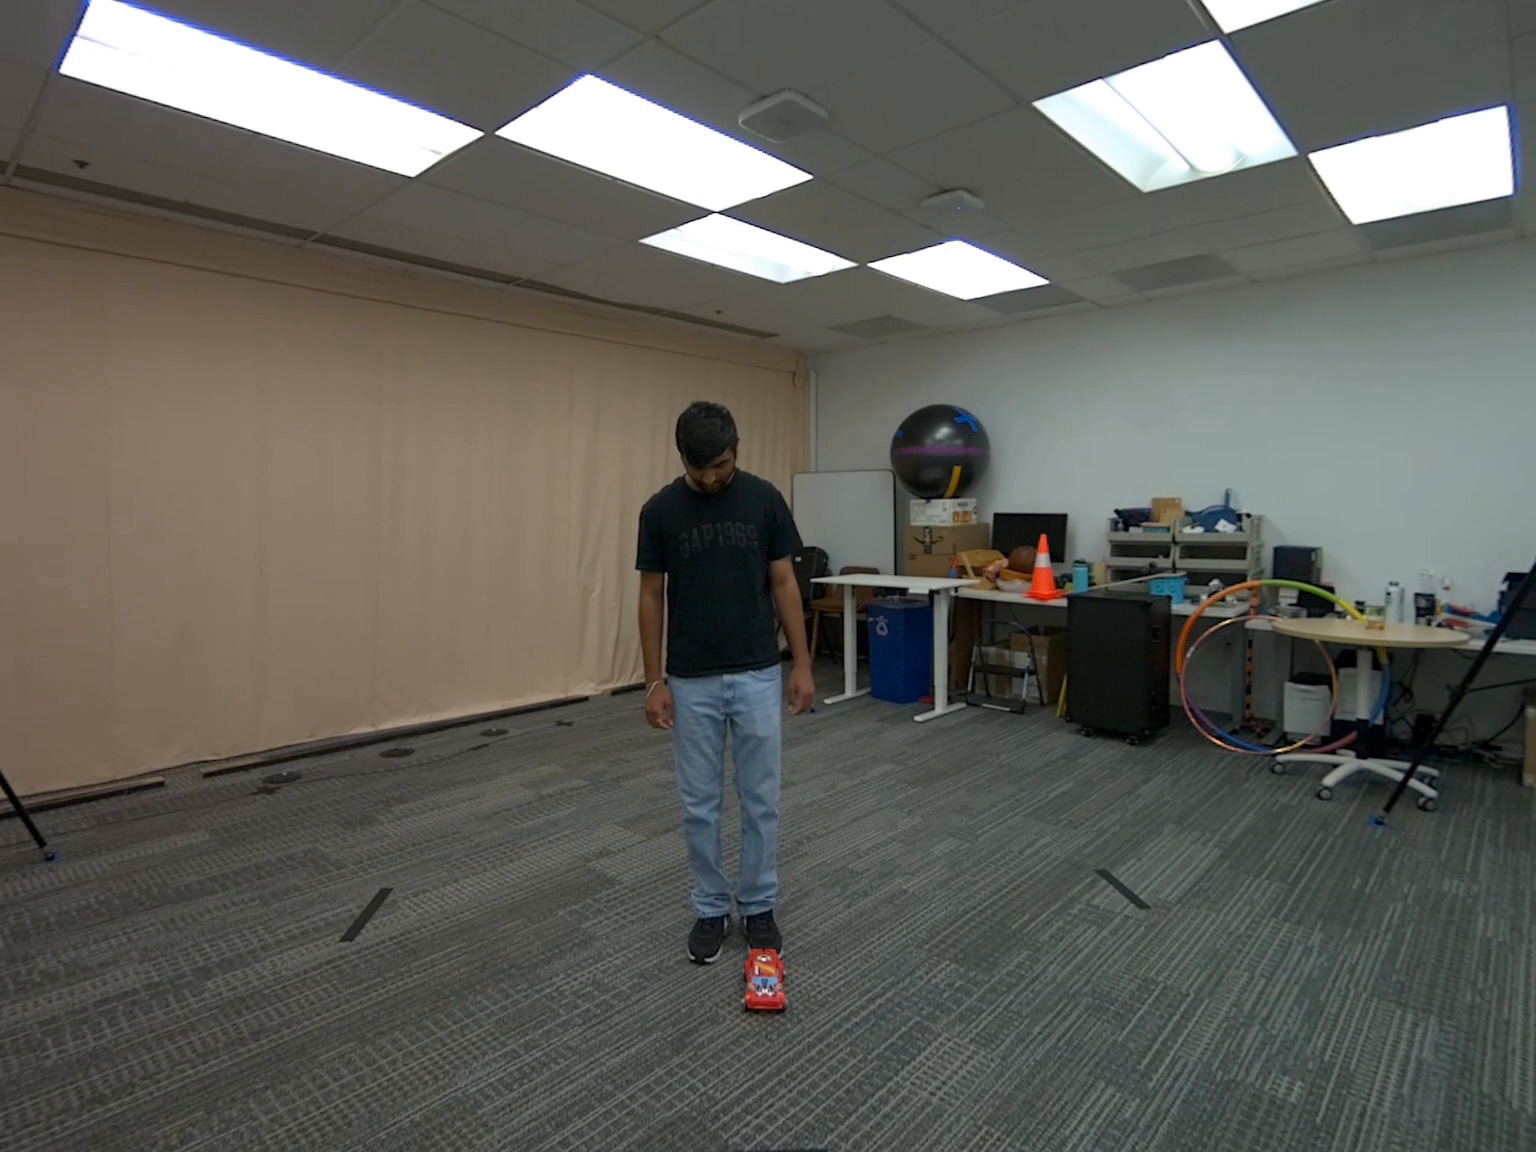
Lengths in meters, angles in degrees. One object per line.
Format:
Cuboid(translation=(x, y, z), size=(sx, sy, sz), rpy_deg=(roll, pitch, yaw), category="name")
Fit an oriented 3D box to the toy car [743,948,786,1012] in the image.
Cuboid(translation=(-0.013, 1.152, 2.419), size=(0.130, 0.082, 0.257), rpy_deg=(-1, 16, 0), category="toy car")
